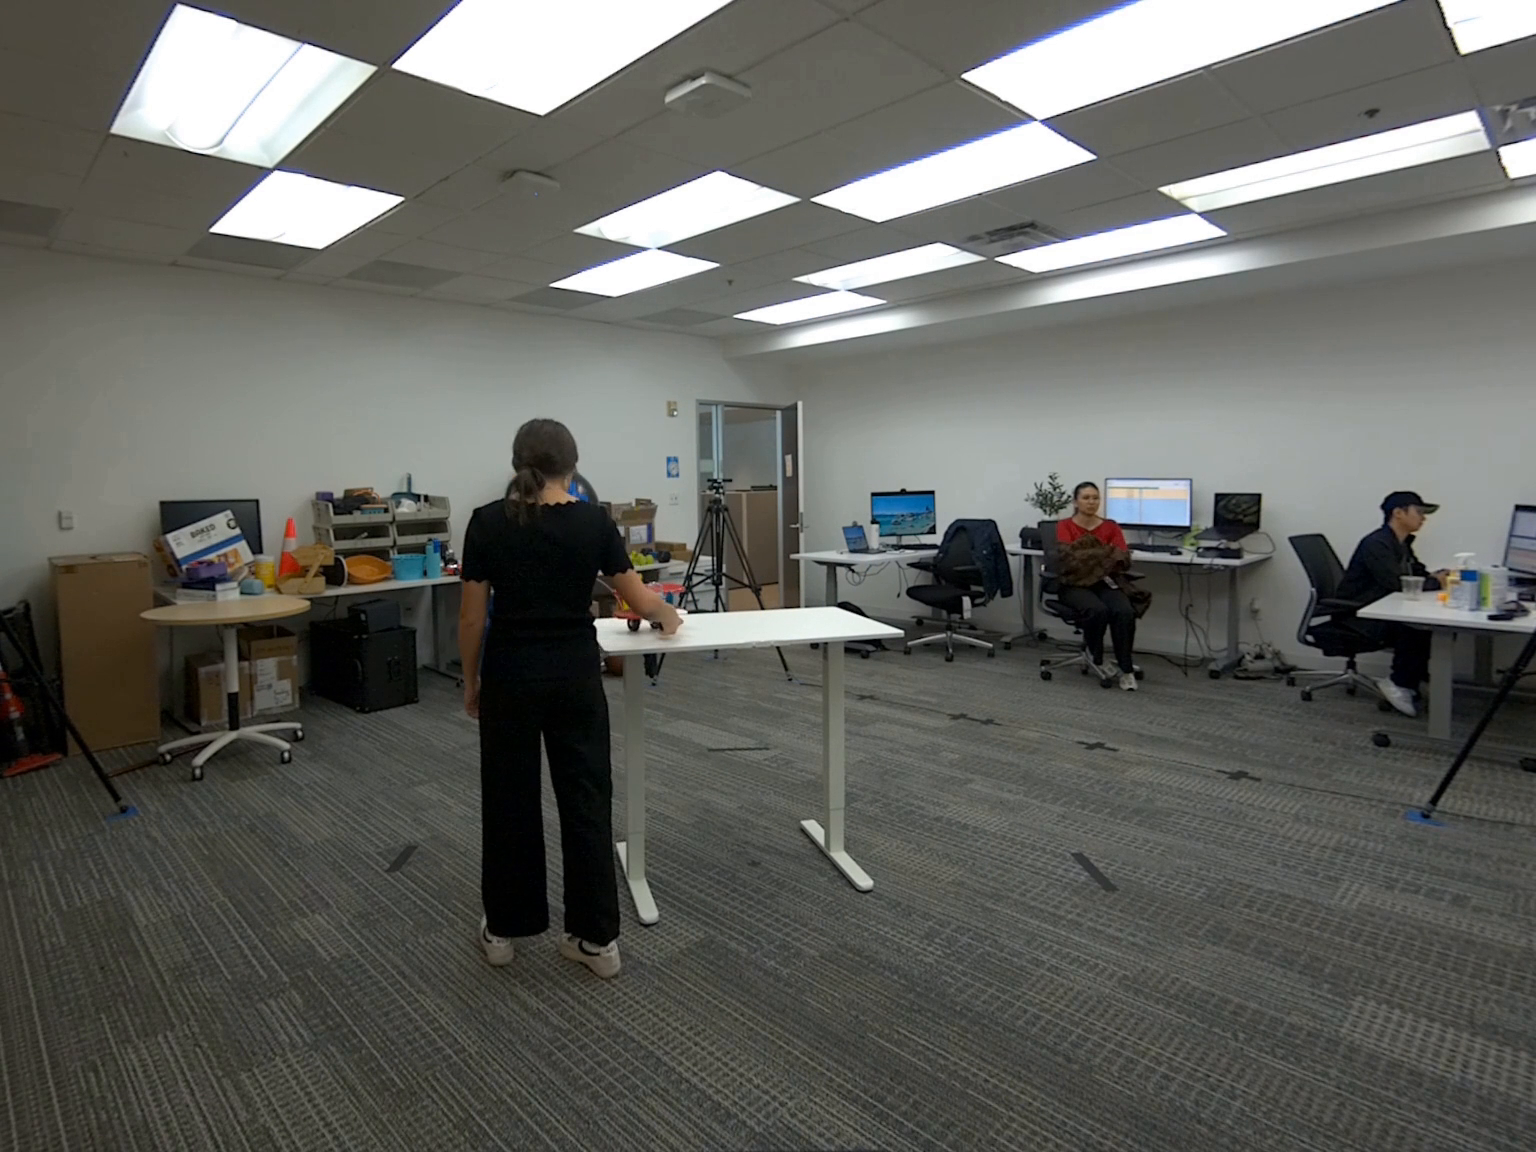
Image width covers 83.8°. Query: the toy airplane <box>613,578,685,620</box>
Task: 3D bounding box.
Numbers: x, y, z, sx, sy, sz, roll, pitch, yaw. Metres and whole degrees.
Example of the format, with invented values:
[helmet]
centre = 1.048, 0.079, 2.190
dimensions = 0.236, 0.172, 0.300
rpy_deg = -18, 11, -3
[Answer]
[toy airplane]
centre = -0.370, 0.105, 2.881
dimensions = 0.265, 0.157, 0.245
rpy_deg = -6, -1, 30
